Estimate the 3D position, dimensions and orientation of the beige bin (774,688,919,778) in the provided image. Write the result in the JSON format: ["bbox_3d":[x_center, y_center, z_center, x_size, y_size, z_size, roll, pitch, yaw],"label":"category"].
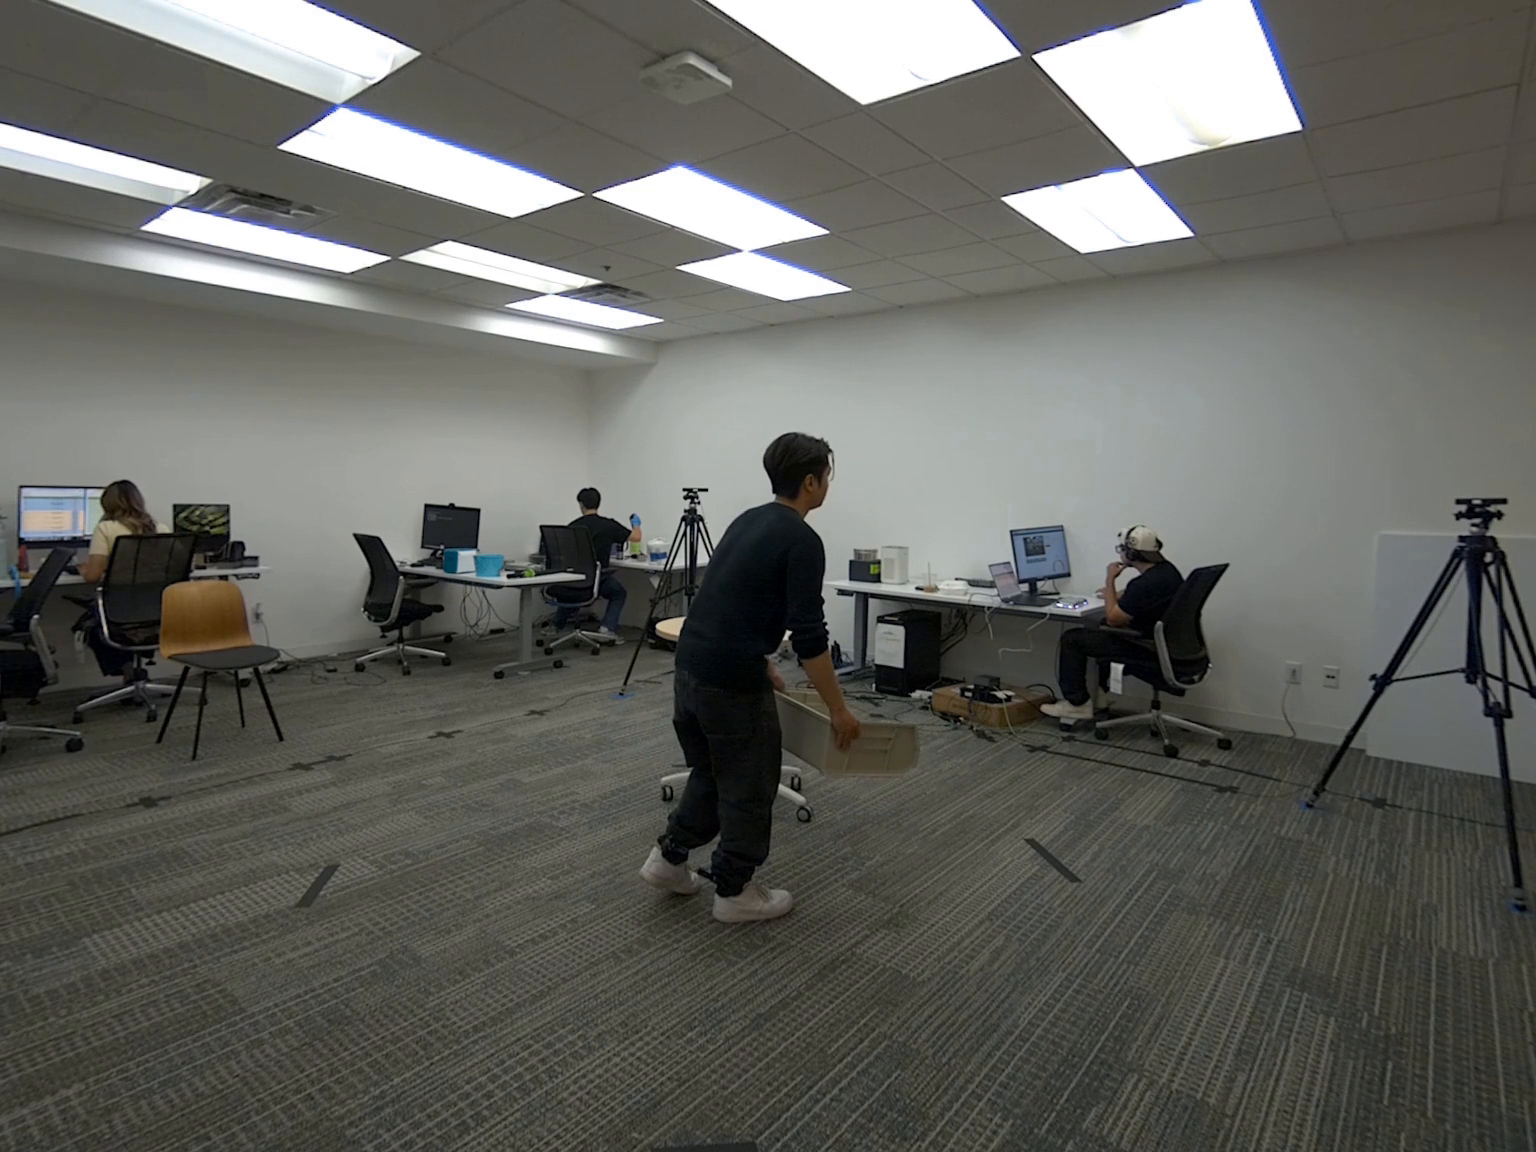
[{"bbox_3d":[0.229,0.522,2.885,0.366,0.188,0.436,7,5,-31],"label":"beige bin"}]
